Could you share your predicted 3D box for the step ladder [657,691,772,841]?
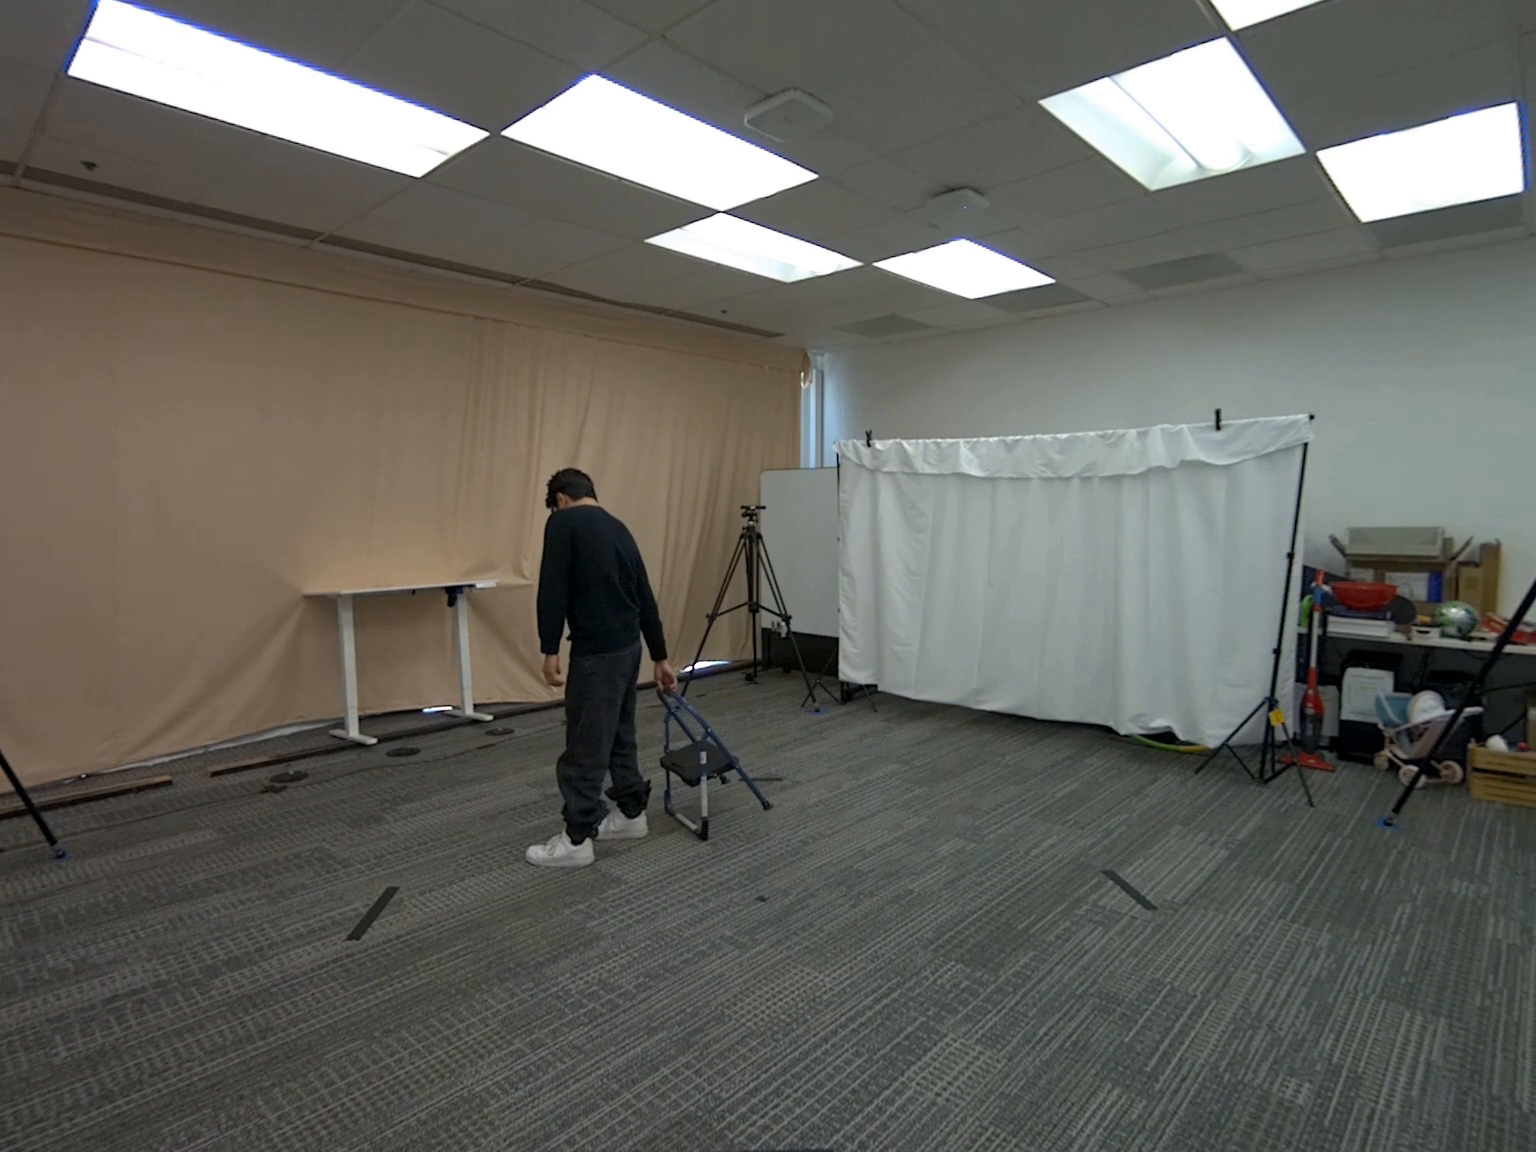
[{"bbox_3d":[-0.299,0.754,3.706,0.343,0.601,0.442,-20,11,-27],"label":"step ladder"}]
